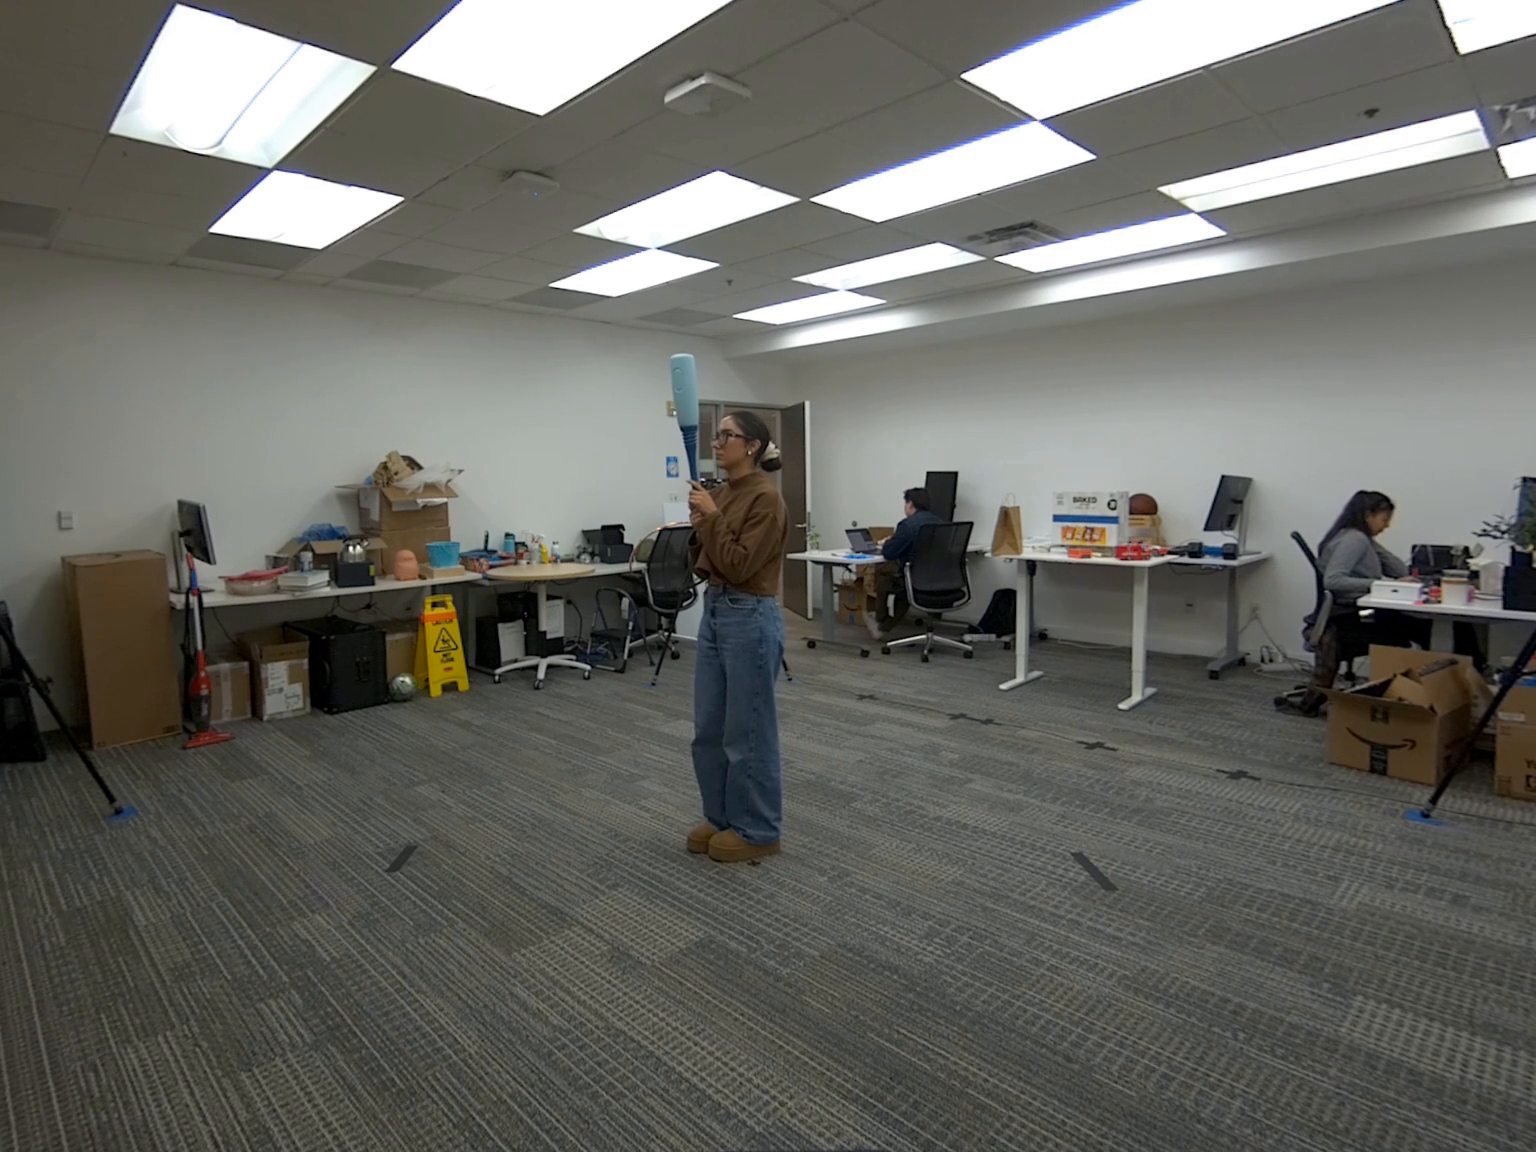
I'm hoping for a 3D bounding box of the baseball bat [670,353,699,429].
[{"bbox_3d":[-0.279,-0.519,3.050,0.089,0.539,0.090,-5,8,-1],"label":"baseball bat"}]
